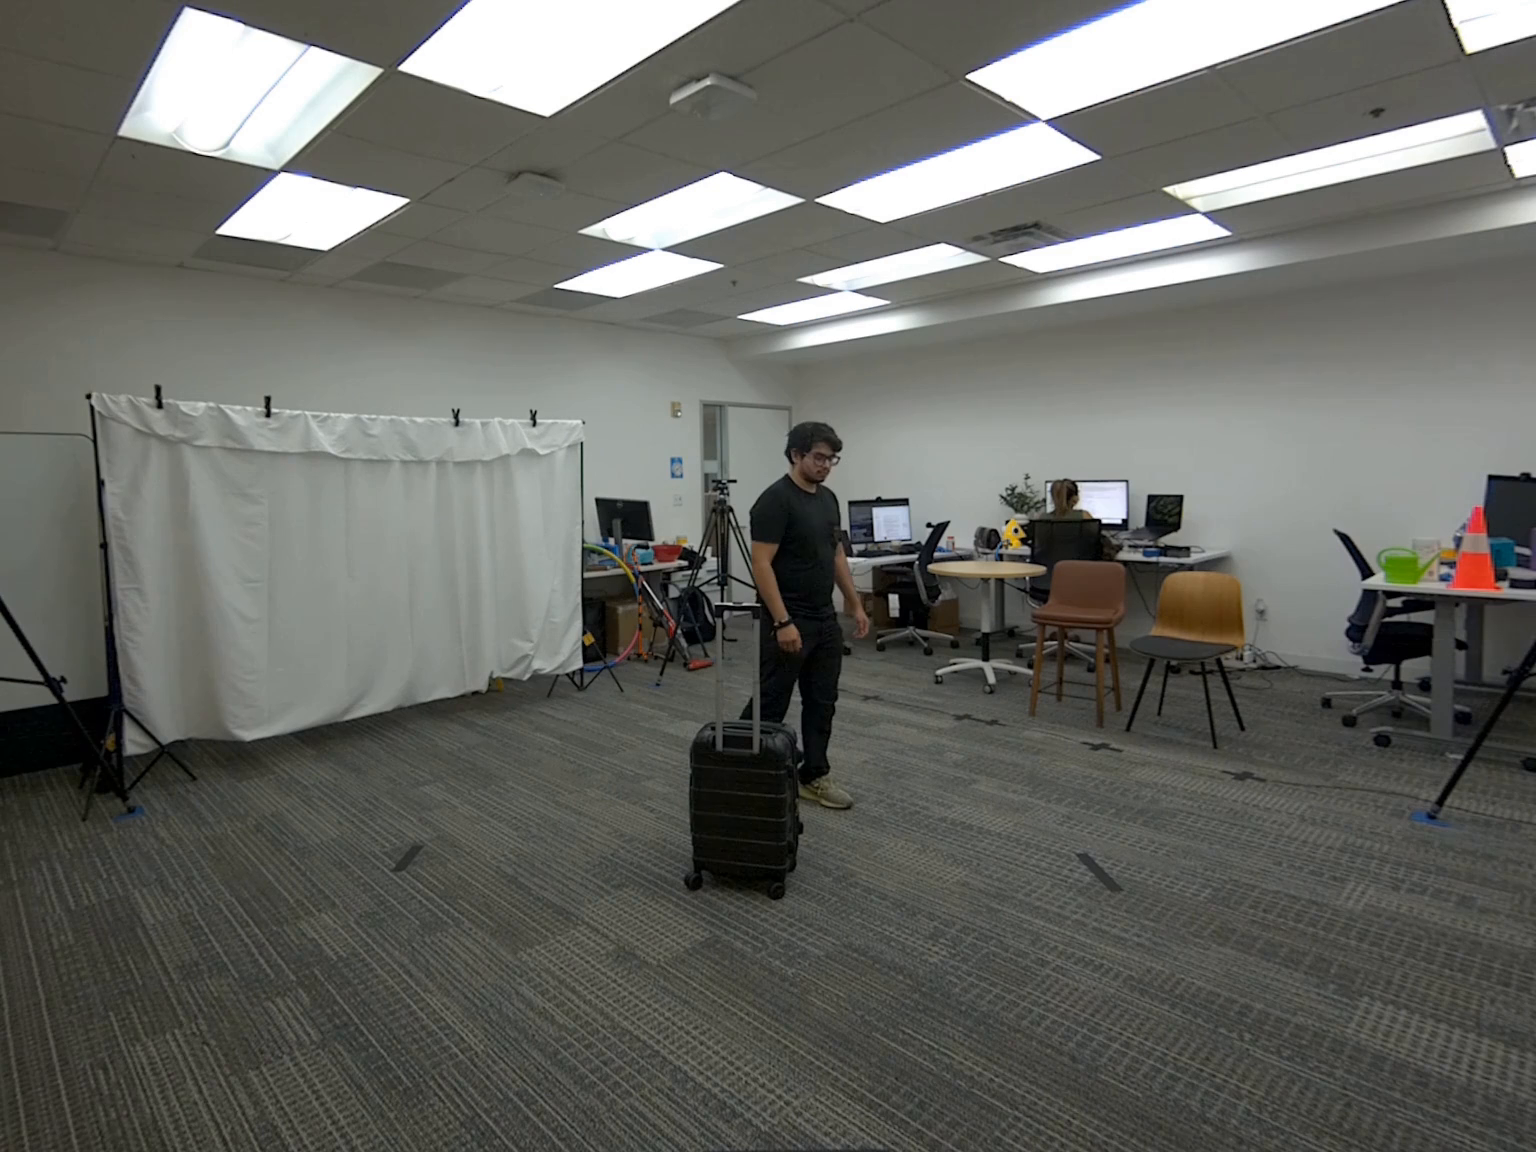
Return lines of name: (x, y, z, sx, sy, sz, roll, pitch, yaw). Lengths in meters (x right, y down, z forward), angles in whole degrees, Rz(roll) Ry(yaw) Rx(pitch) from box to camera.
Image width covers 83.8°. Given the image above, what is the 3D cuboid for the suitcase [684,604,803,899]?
suitcase: (-0.079, 0.583, 2.985, 0.389, 0.977, 0.254, 1, 2, 14)
